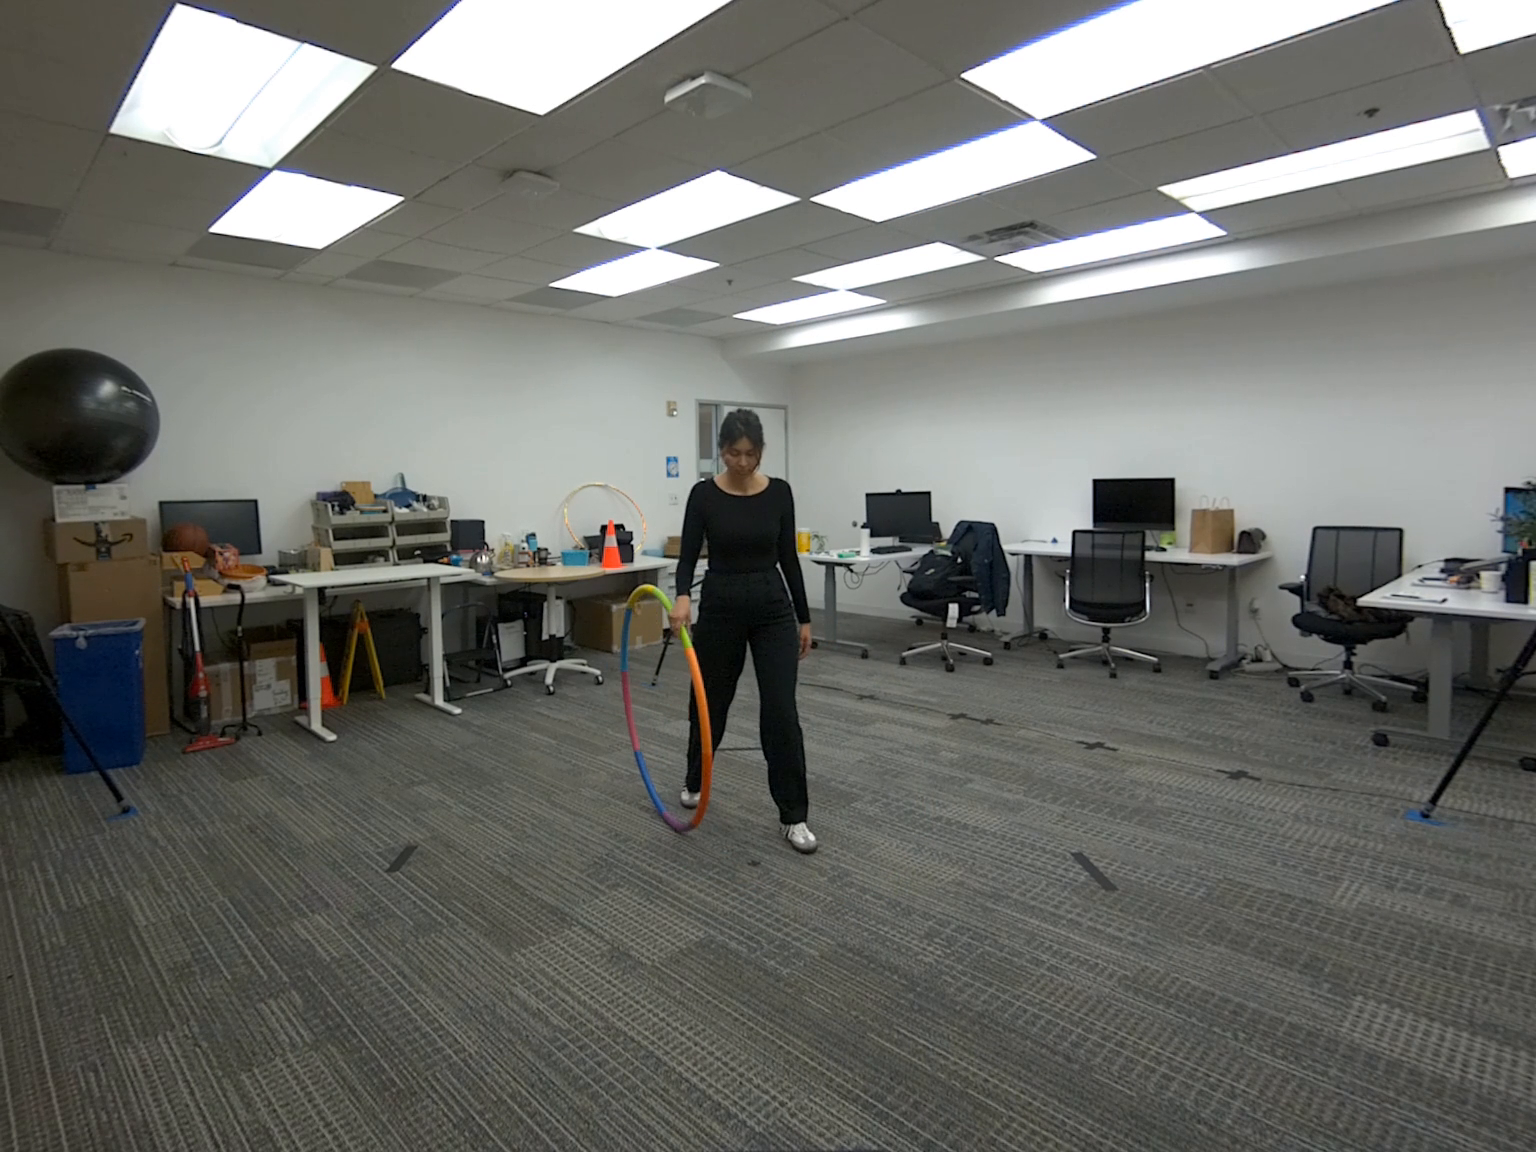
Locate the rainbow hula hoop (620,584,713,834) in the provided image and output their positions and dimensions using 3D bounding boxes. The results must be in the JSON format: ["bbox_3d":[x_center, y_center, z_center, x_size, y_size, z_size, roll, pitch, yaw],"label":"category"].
[{"bbox_3d":[-0.430,0.530,3.448,0.035,0.973,1.003,-6,7,-25],"label":"rainbow hula hoop"}]
